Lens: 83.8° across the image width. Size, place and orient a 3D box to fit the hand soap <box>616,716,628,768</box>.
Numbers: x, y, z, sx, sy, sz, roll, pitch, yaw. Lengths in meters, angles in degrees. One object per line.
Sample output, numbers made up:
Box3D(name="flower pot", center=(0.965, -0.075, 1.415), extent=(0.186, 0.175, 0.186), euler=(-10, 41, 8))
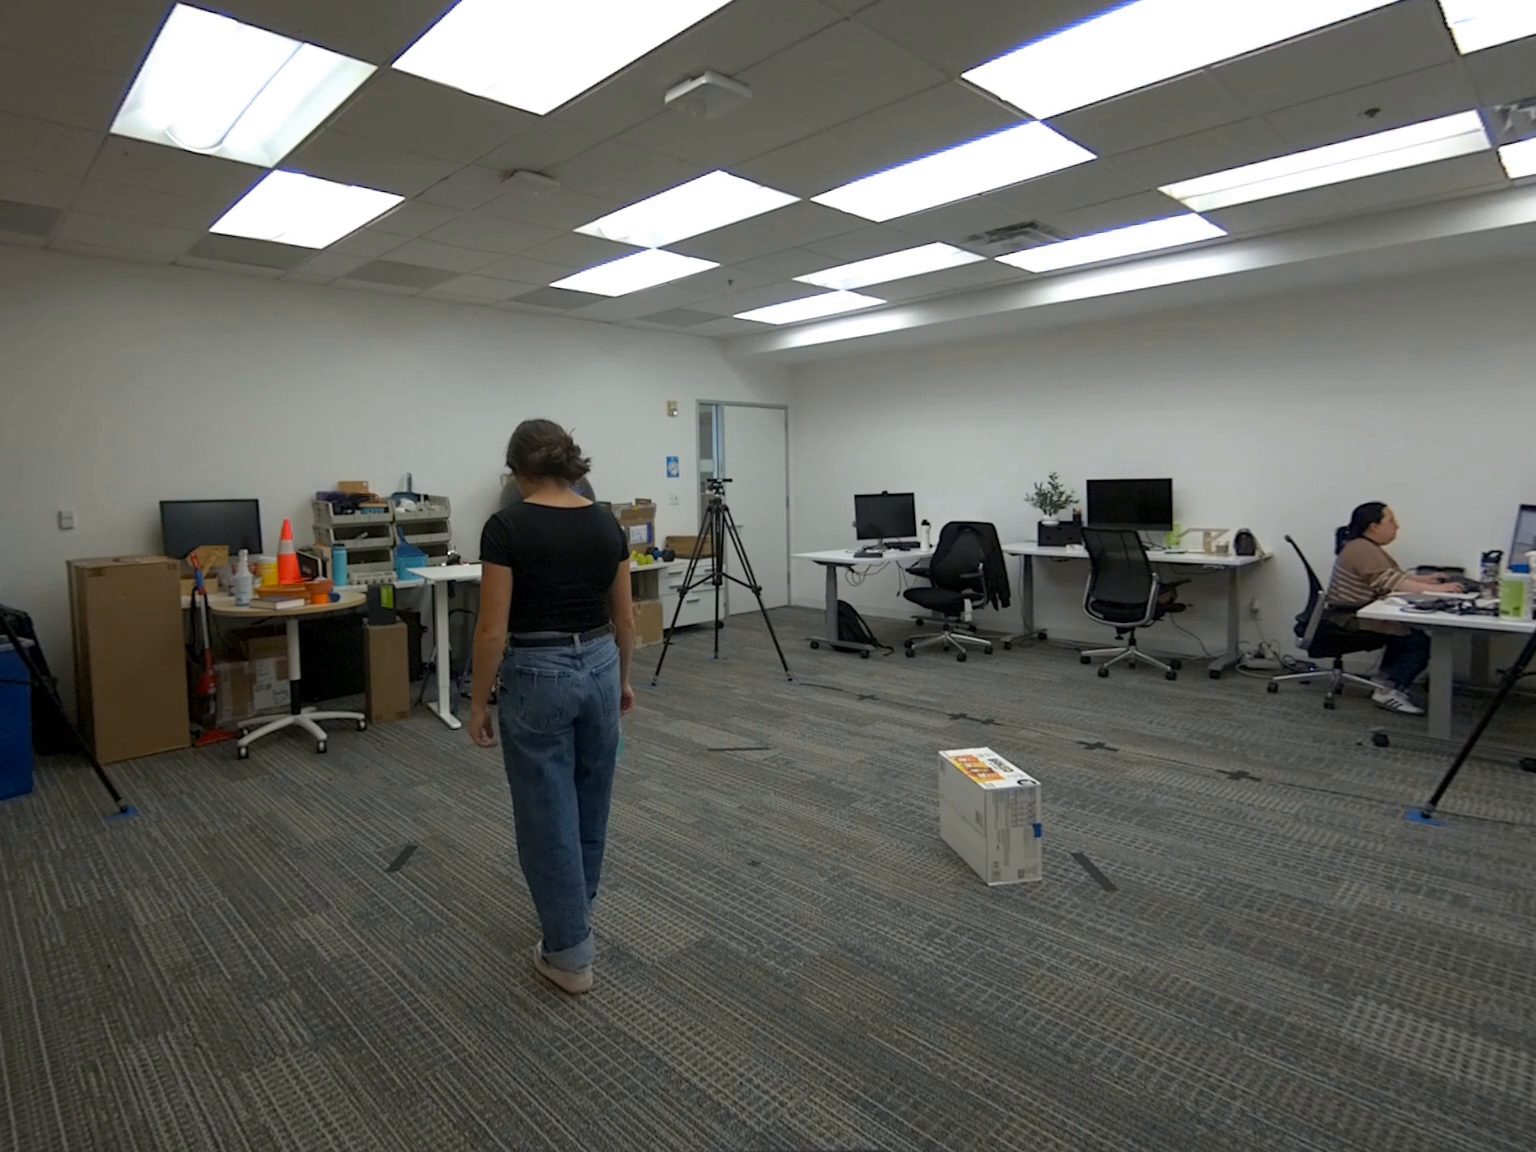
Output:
Box3D(name="hand soap", center=(-0.479, 0.494, 2.650), extent=(0.042, 0.166, 0.087), euler=(-8, 12, -29))
